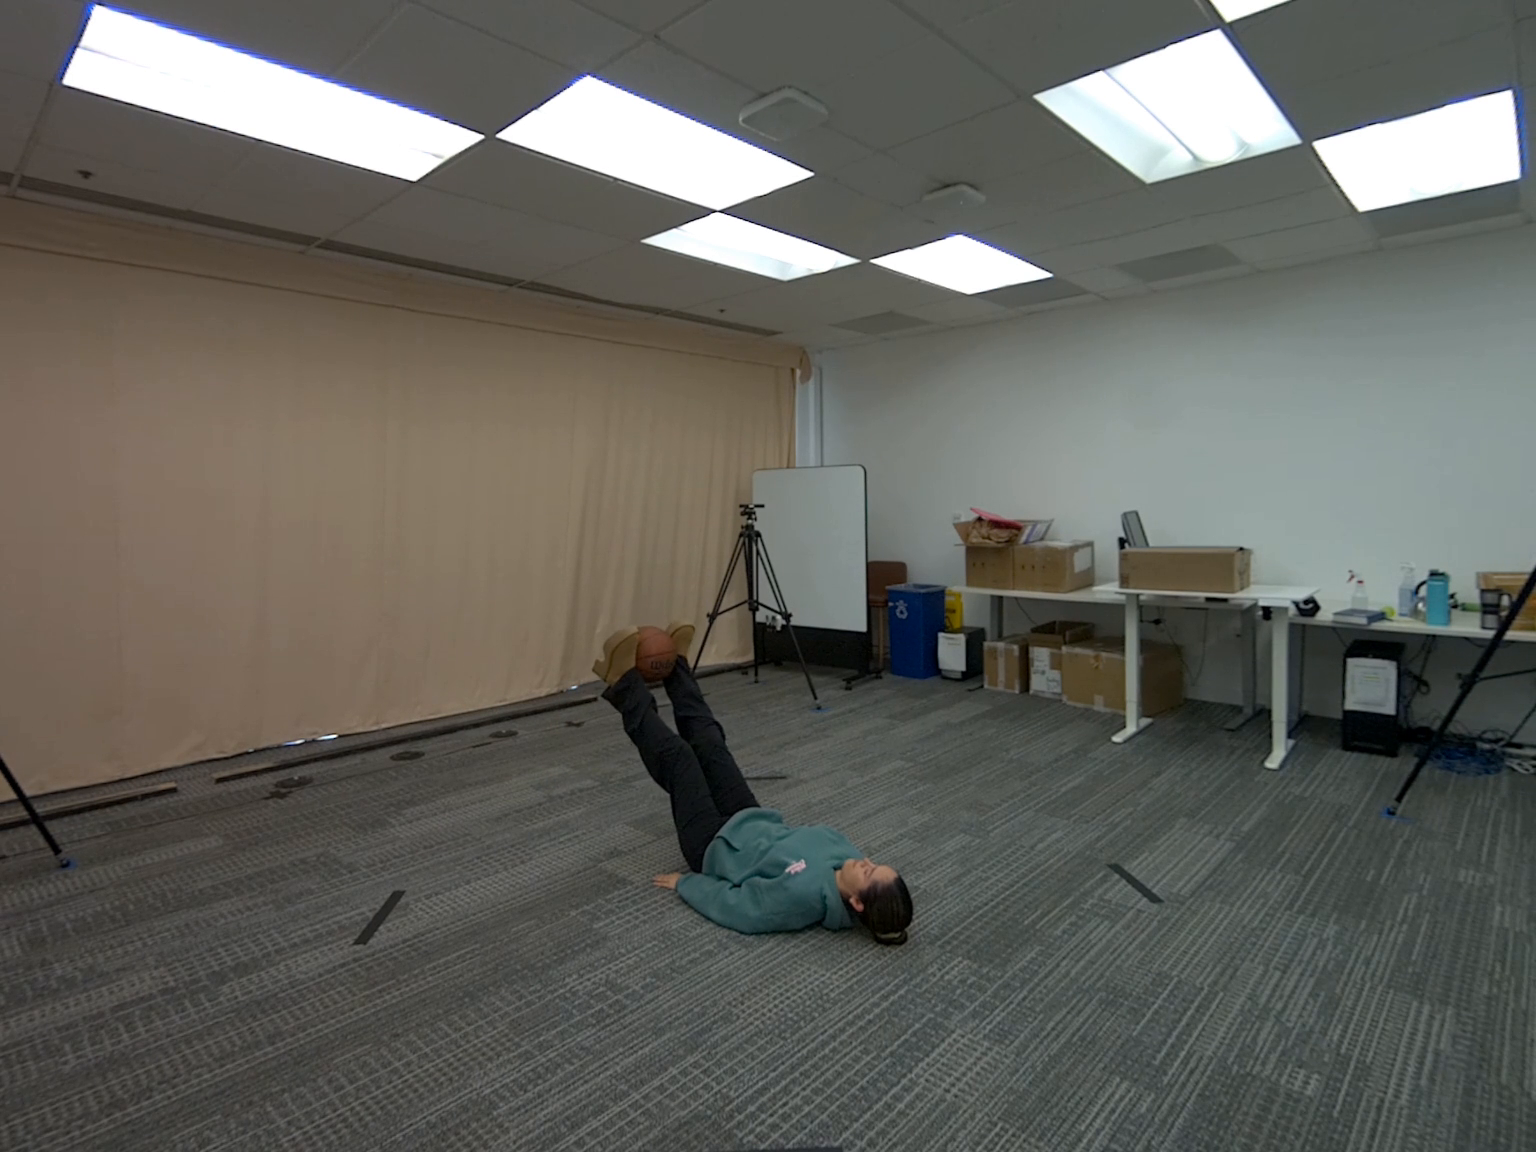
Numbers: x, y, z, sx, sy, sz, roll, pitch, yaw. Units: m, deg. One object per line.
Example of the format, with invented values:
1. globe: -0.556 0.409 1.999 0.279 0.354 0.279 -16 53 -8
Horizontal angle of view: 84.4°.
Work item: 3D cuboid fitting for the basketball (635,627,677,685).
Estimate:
1. basketball: -0.498 0.329 3.473 0.236 0.235 0.237 0 4 -2
